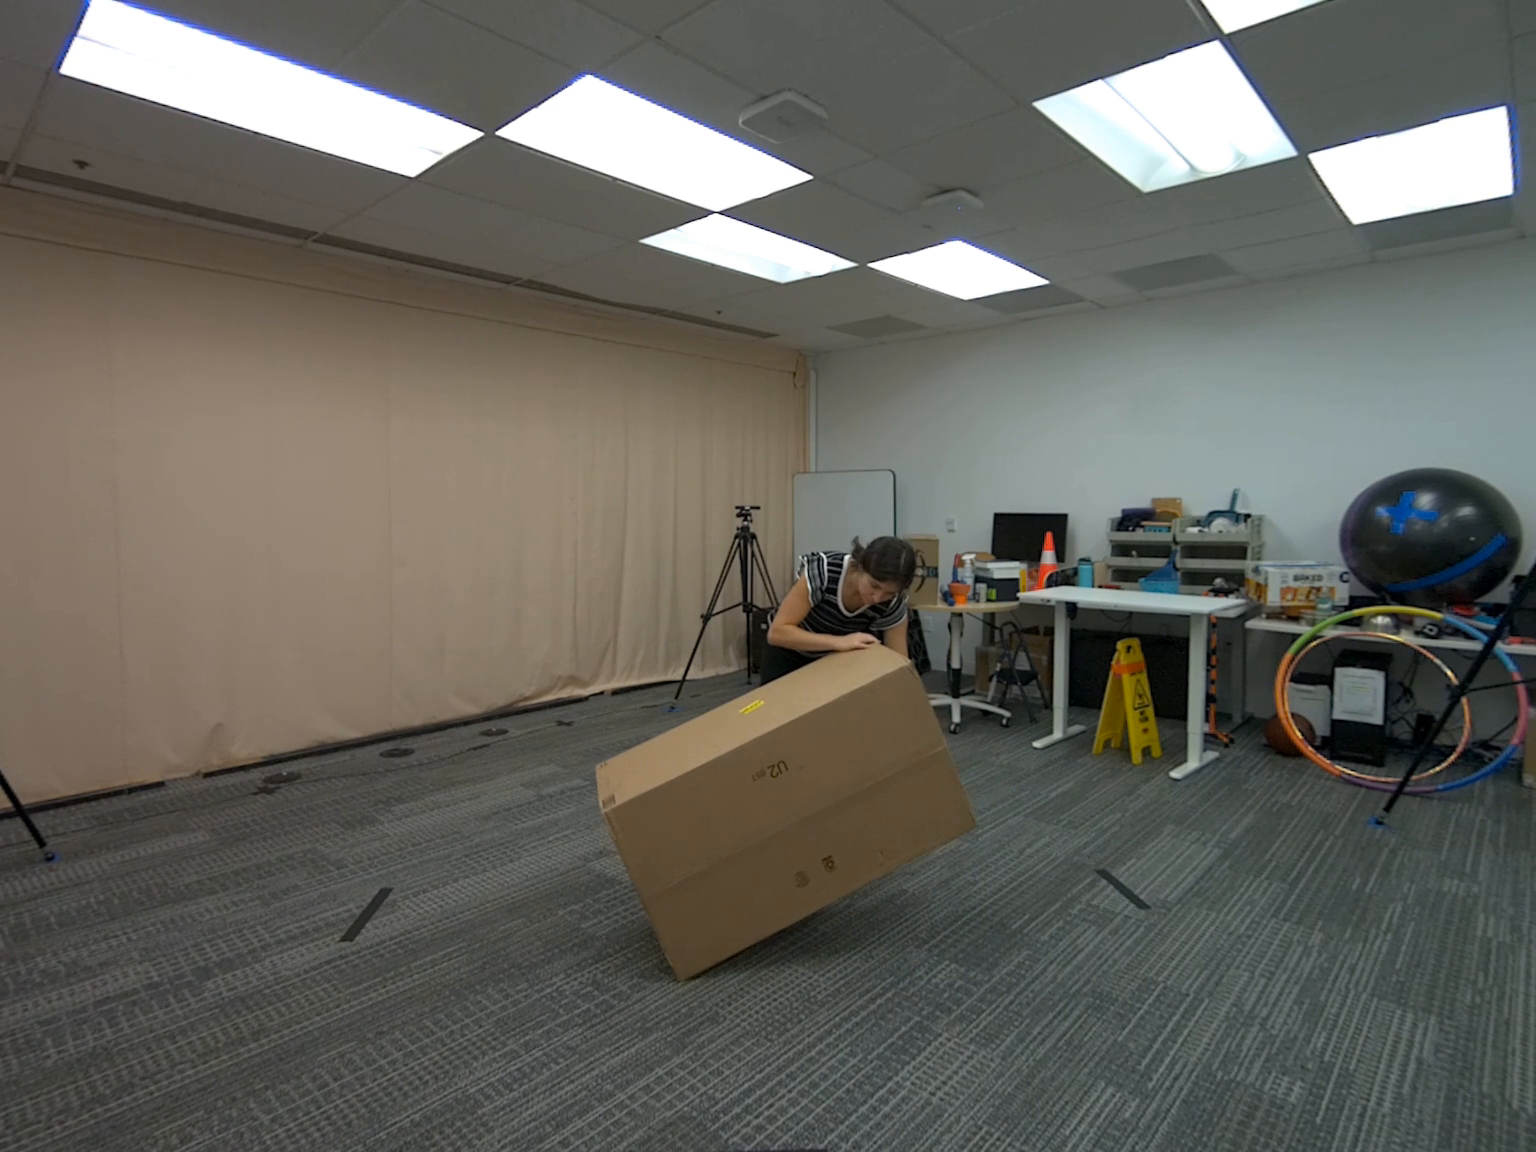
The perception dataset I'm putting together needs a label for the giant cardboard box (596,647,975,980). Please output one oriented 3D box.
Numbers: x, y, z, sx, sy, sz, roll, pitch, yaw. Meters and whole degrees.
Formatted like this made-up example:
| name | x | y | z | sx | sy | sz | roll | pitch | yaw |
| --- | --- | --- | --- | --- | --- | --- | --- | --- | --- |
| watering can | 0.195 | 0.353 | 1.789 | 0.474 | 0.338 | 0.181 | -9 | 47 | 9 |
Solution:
| name | x | y | z | sx | sy | sz | roll | pitch | yaw |
| --- | --- | --- | --- | --- | --- | --- | --- | --- | --- |
| giant cardboard box | 0.041 | 0.703 | 2.693 | 1.019 | 0.573 | 0.432 | -24 | 8 | -8 |
